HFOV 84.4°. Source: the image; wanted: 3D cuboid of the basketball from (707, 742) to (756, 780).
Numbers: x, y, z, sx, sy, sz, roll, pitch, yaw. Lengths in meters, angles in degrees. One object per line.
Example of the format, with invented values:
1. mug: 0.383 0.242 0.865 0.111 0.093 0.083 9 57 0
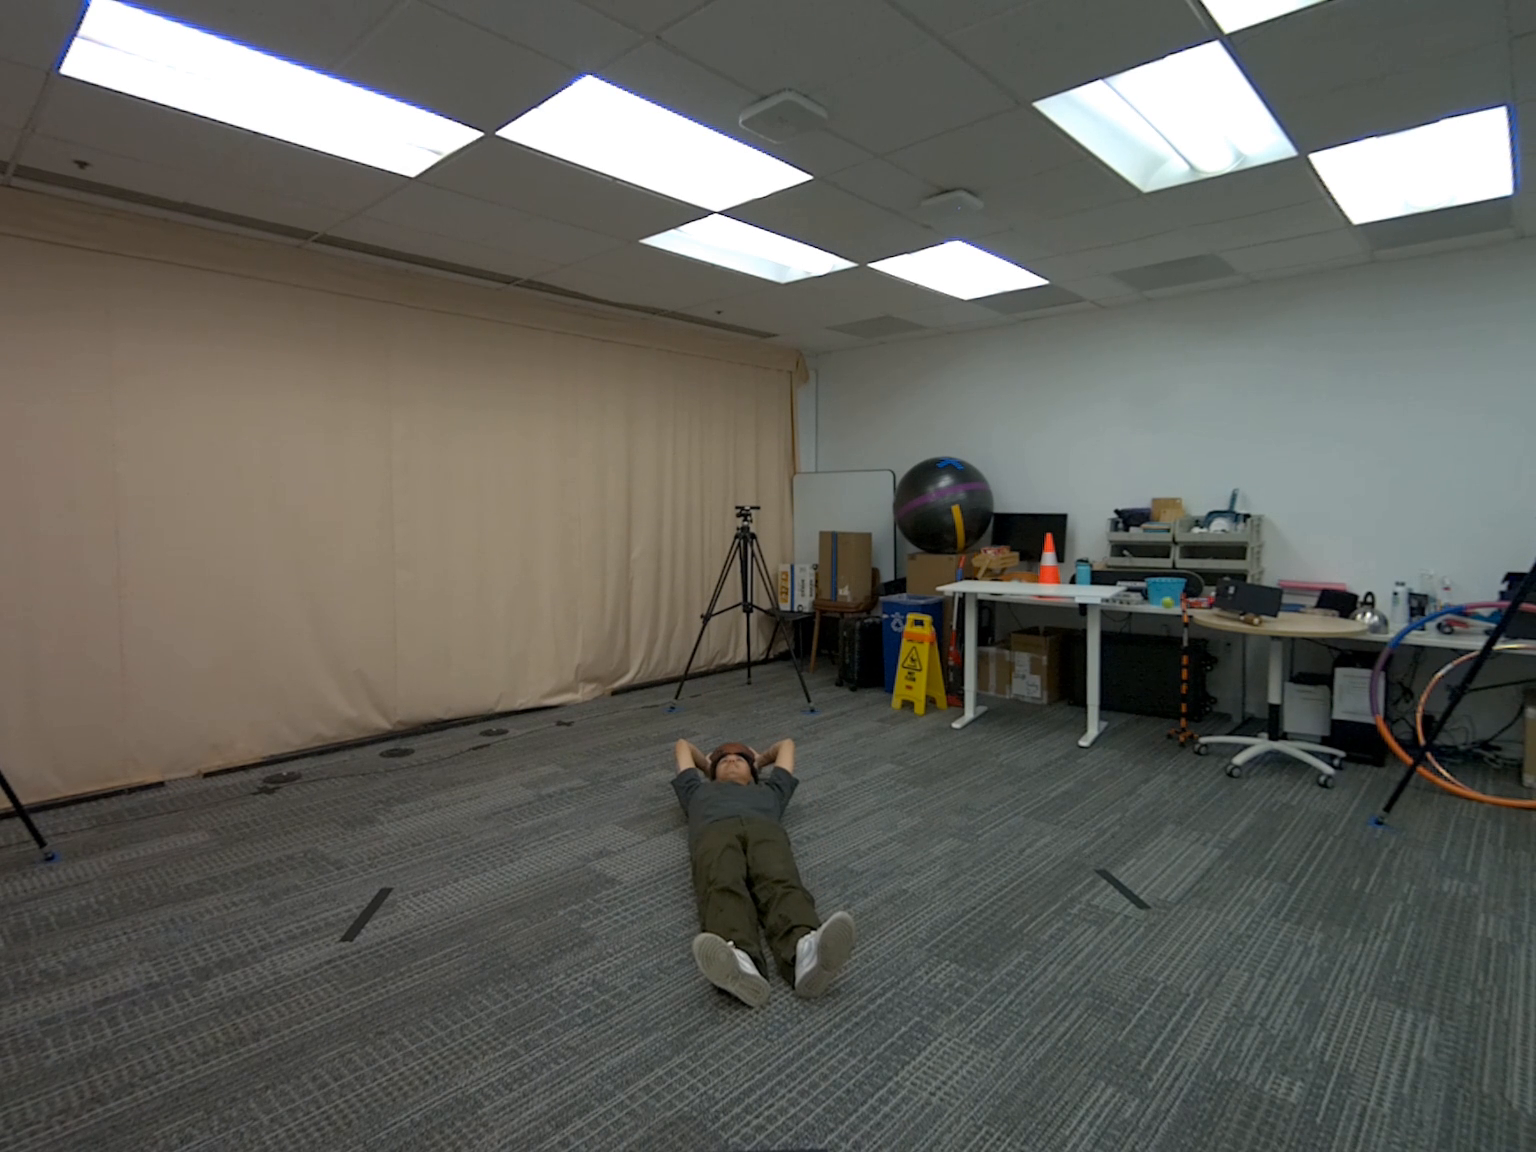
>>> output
1. basketball: -0.172 0.928 4.133 0.236 0.235 0.237 0 4 -2
